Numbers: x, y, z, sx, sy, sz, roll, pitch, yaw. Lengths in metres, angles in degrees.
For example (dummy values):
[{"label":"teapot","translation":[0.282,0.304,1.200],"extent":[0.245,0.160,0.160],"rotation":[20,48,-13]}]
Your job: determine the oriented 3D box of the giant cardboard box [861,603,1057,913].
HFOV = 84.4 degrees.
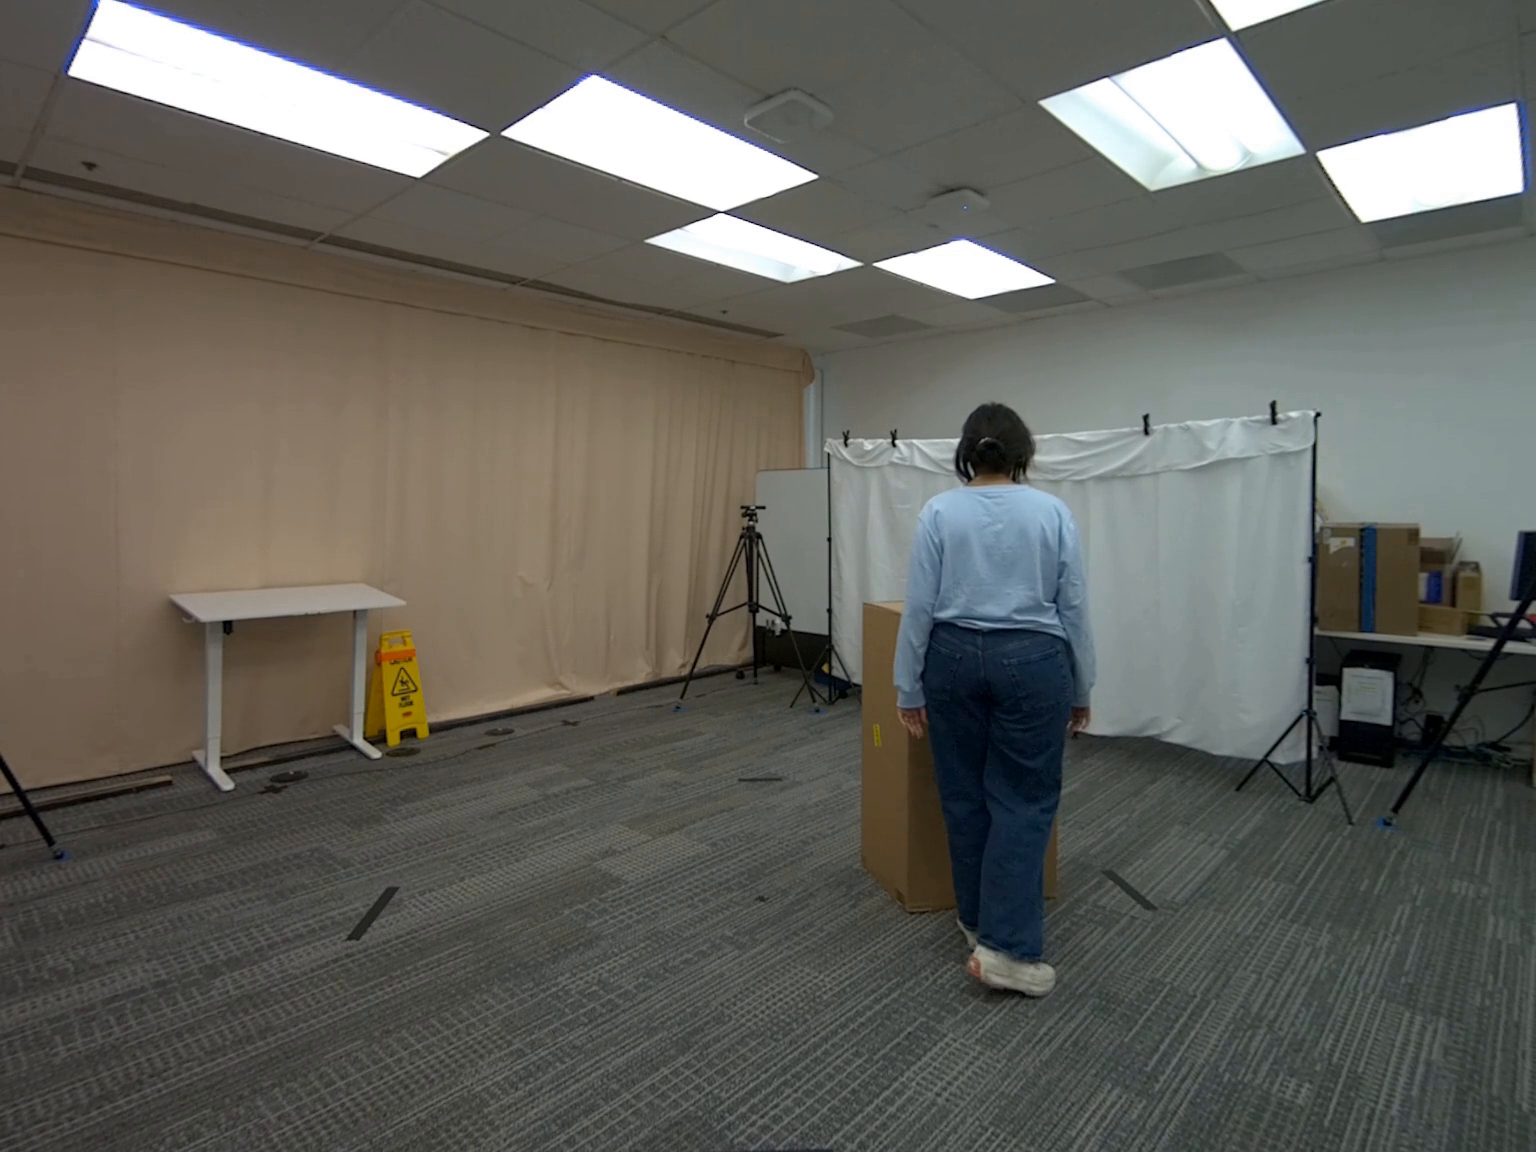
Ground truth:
[{"label":"giant cardboard box","translation":[0.702,0.622,3.117],"extent":[0.569,1.024,0.433],"rotation":[0,3,-14]}]
